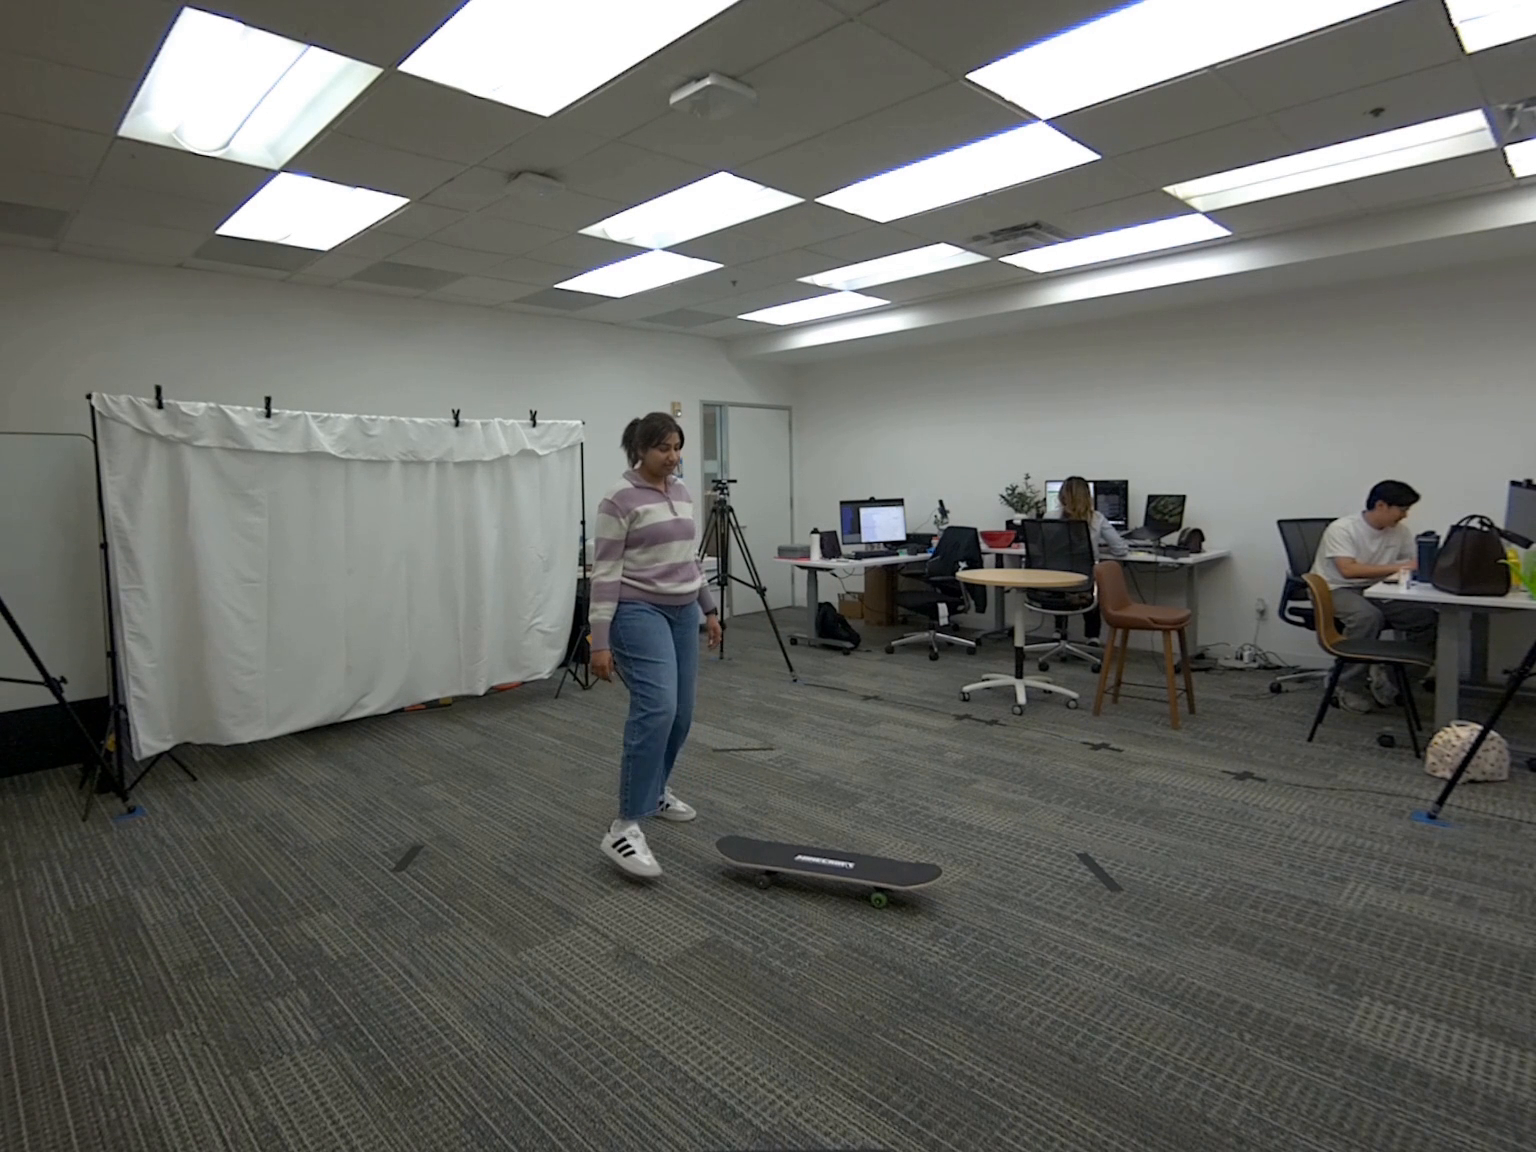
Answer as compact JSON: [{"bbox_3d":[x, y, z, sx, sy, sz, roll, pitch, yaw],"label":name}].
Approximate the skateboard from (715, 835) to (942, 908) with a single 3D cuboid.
[{"bbox_3d":[0.192,1.003,2.915,0.801,0.110,0.190,1,6,21],"label":"skateboard"}]
